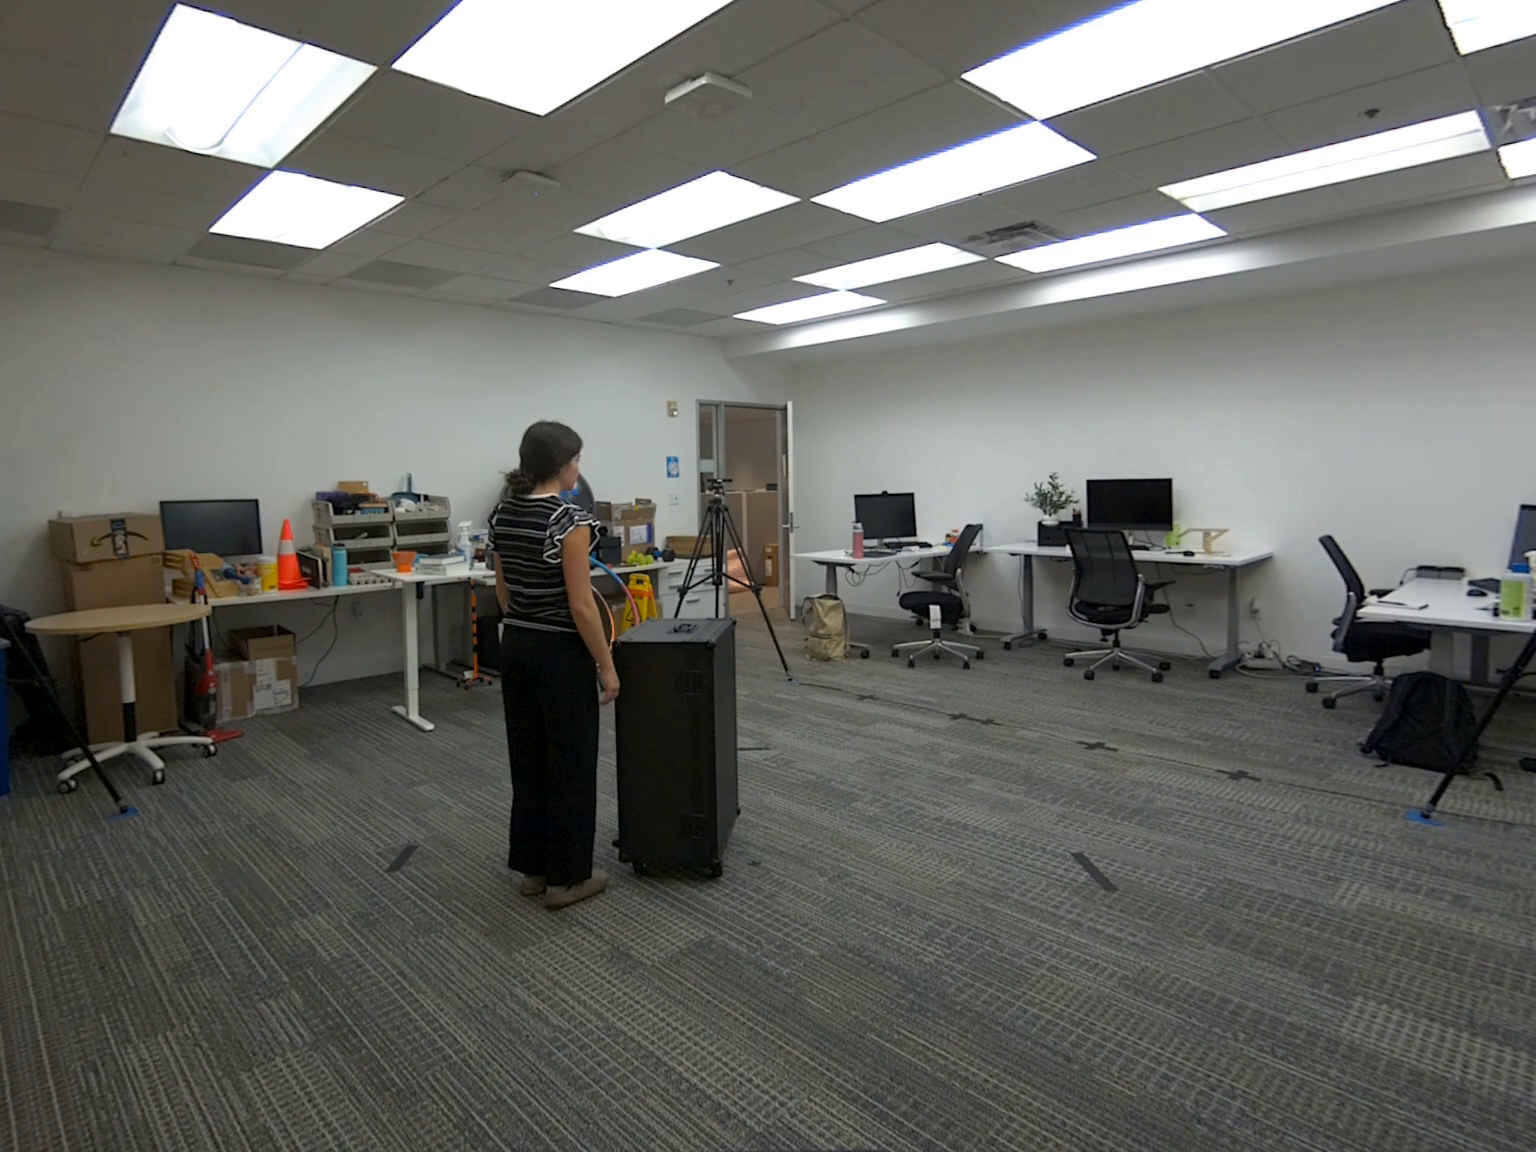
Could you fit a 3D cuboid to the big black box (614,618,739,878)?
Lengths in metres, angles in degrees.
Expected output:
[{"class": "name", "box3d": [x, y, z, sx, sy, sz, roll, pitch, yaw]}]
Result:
[{"class": "big black box", "box3d": [-0.331, 0.615, 3.160, 0.400, 0.858, 0.519, -1, 5, 9]}]
